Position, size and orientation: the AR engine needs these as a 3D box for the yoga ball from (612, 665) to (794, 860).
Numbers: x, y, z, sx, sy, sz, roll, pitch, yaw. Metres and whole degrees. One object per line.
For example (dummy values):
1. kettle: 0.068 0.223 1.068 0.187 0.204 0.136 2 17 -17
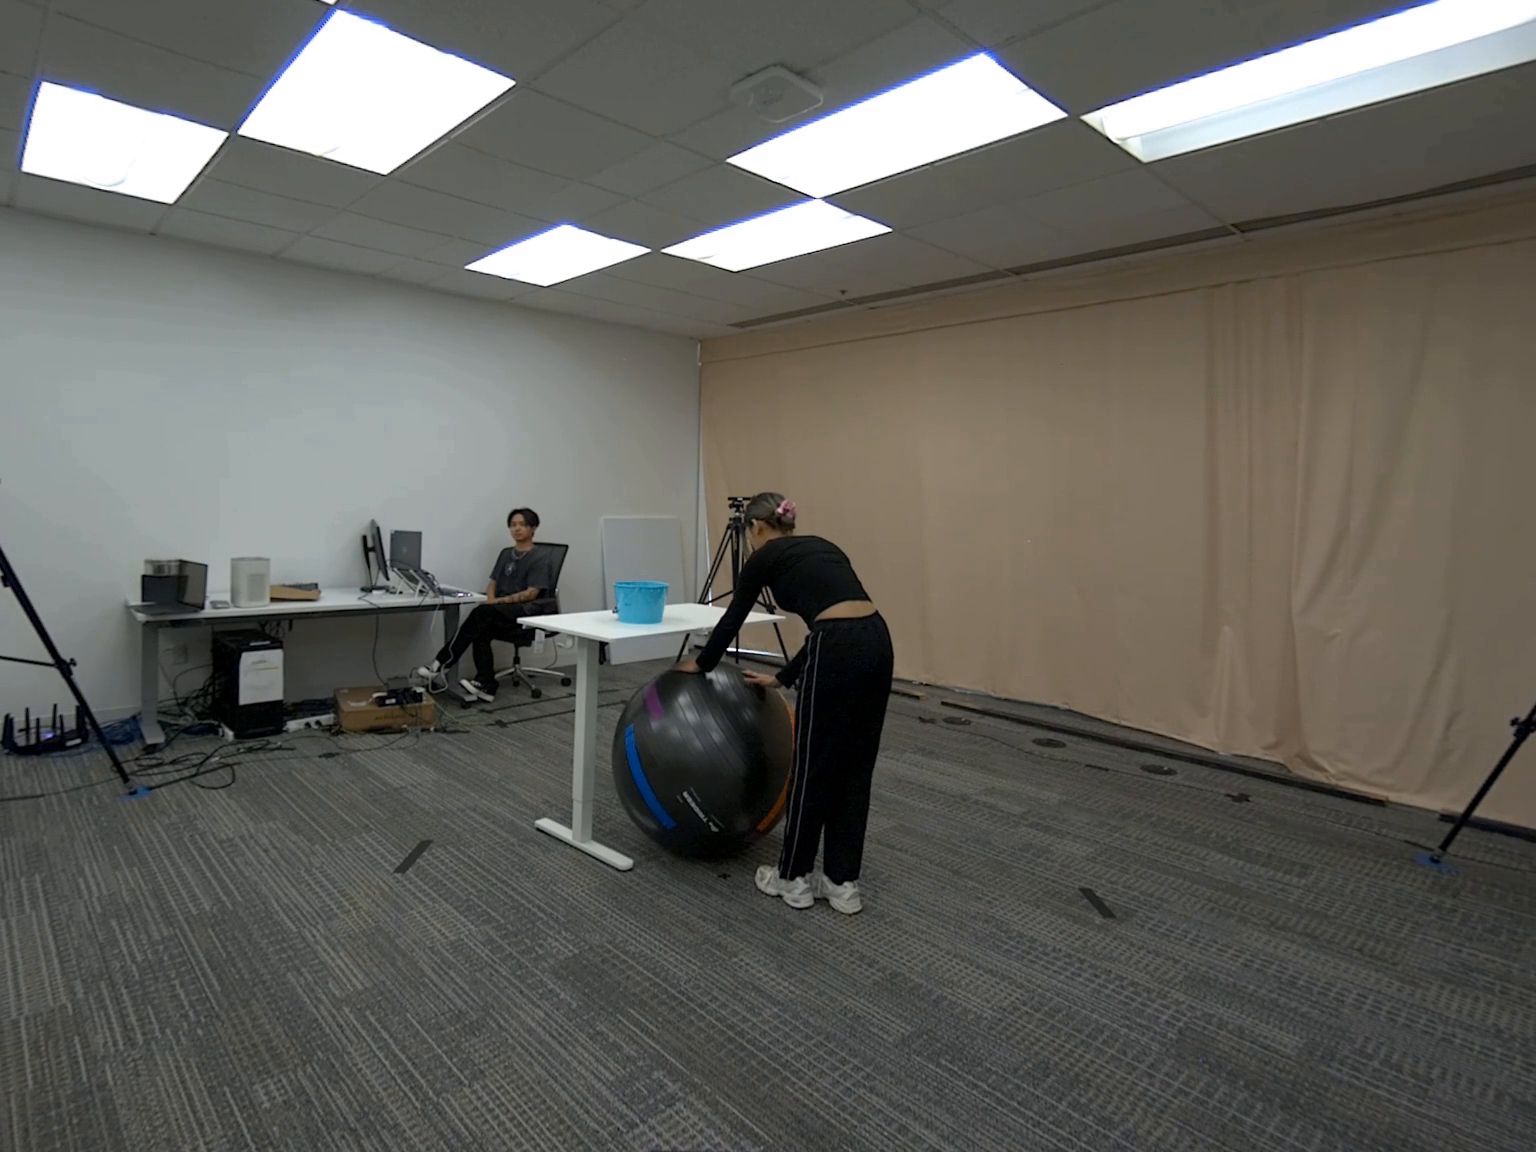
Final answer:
1. yoga ball: -0.249 0.711 3.358 0.757 0.756 0.760 1 4 -1
